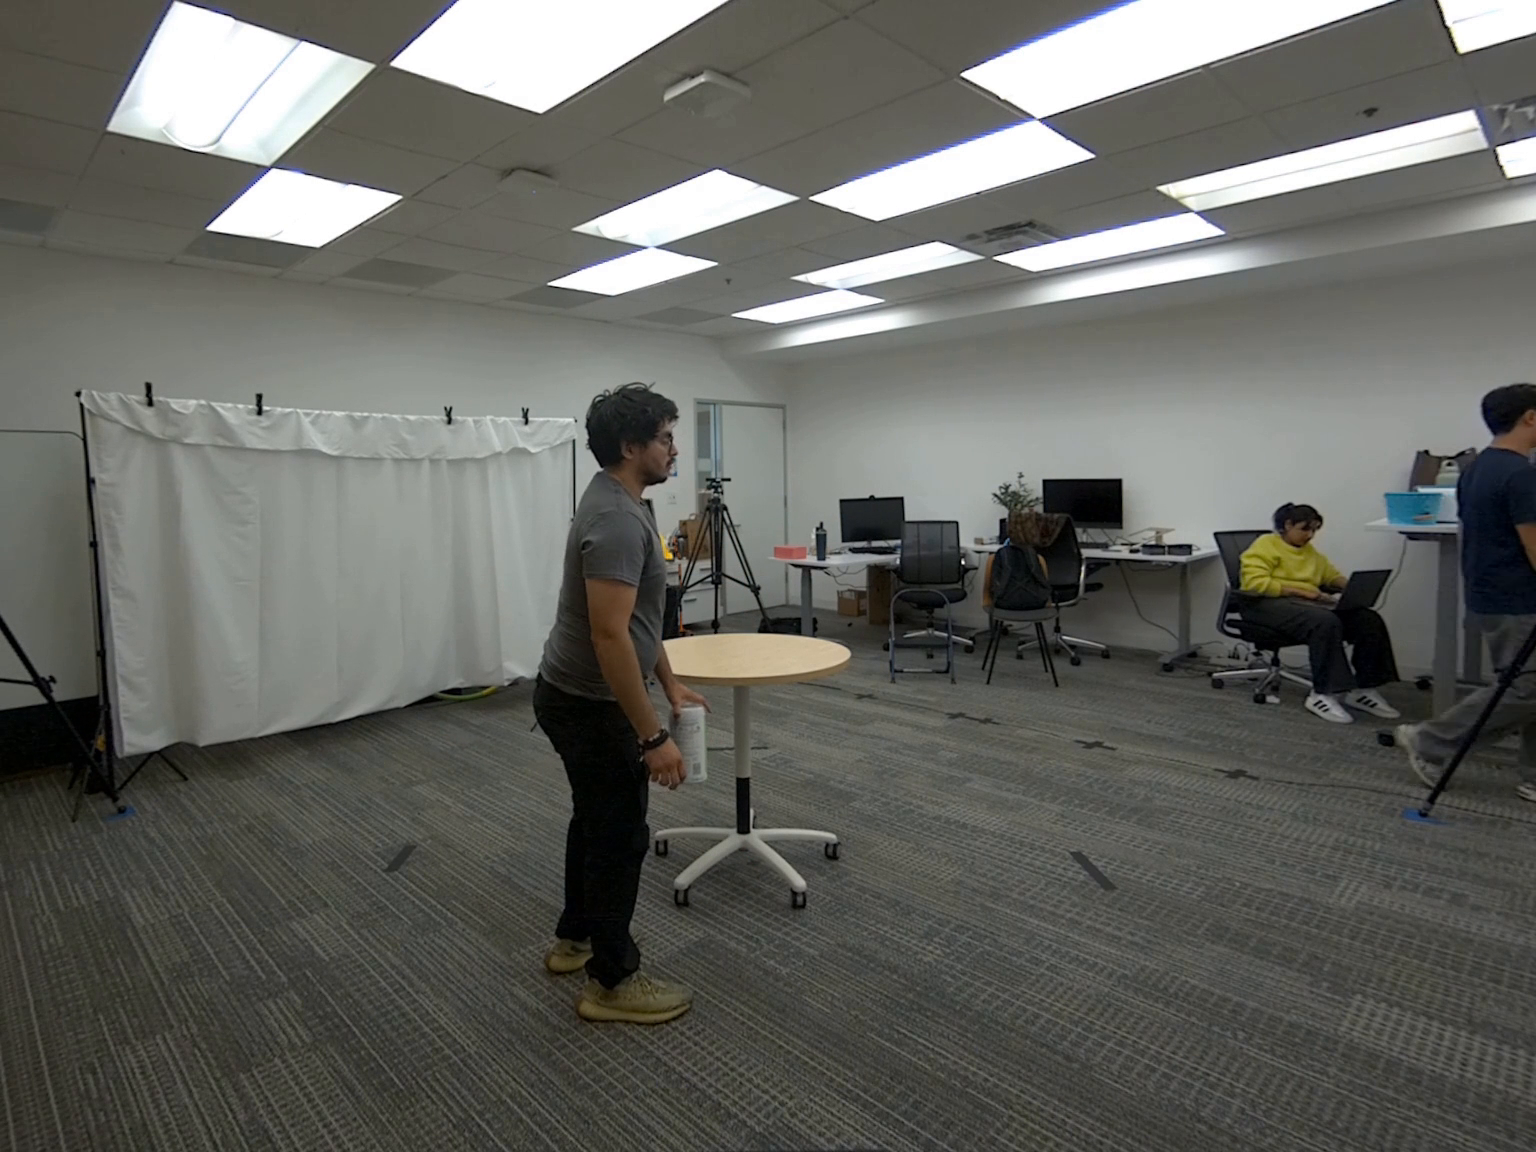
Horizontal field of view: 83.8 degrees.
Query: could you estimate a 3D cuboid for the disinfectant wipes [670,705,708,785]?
[{"bbox_3d":[-0.224,0.488,2.468,0.118,0.217,0.118,-2,0,-2],"label":"disinfectant wipes"}]
